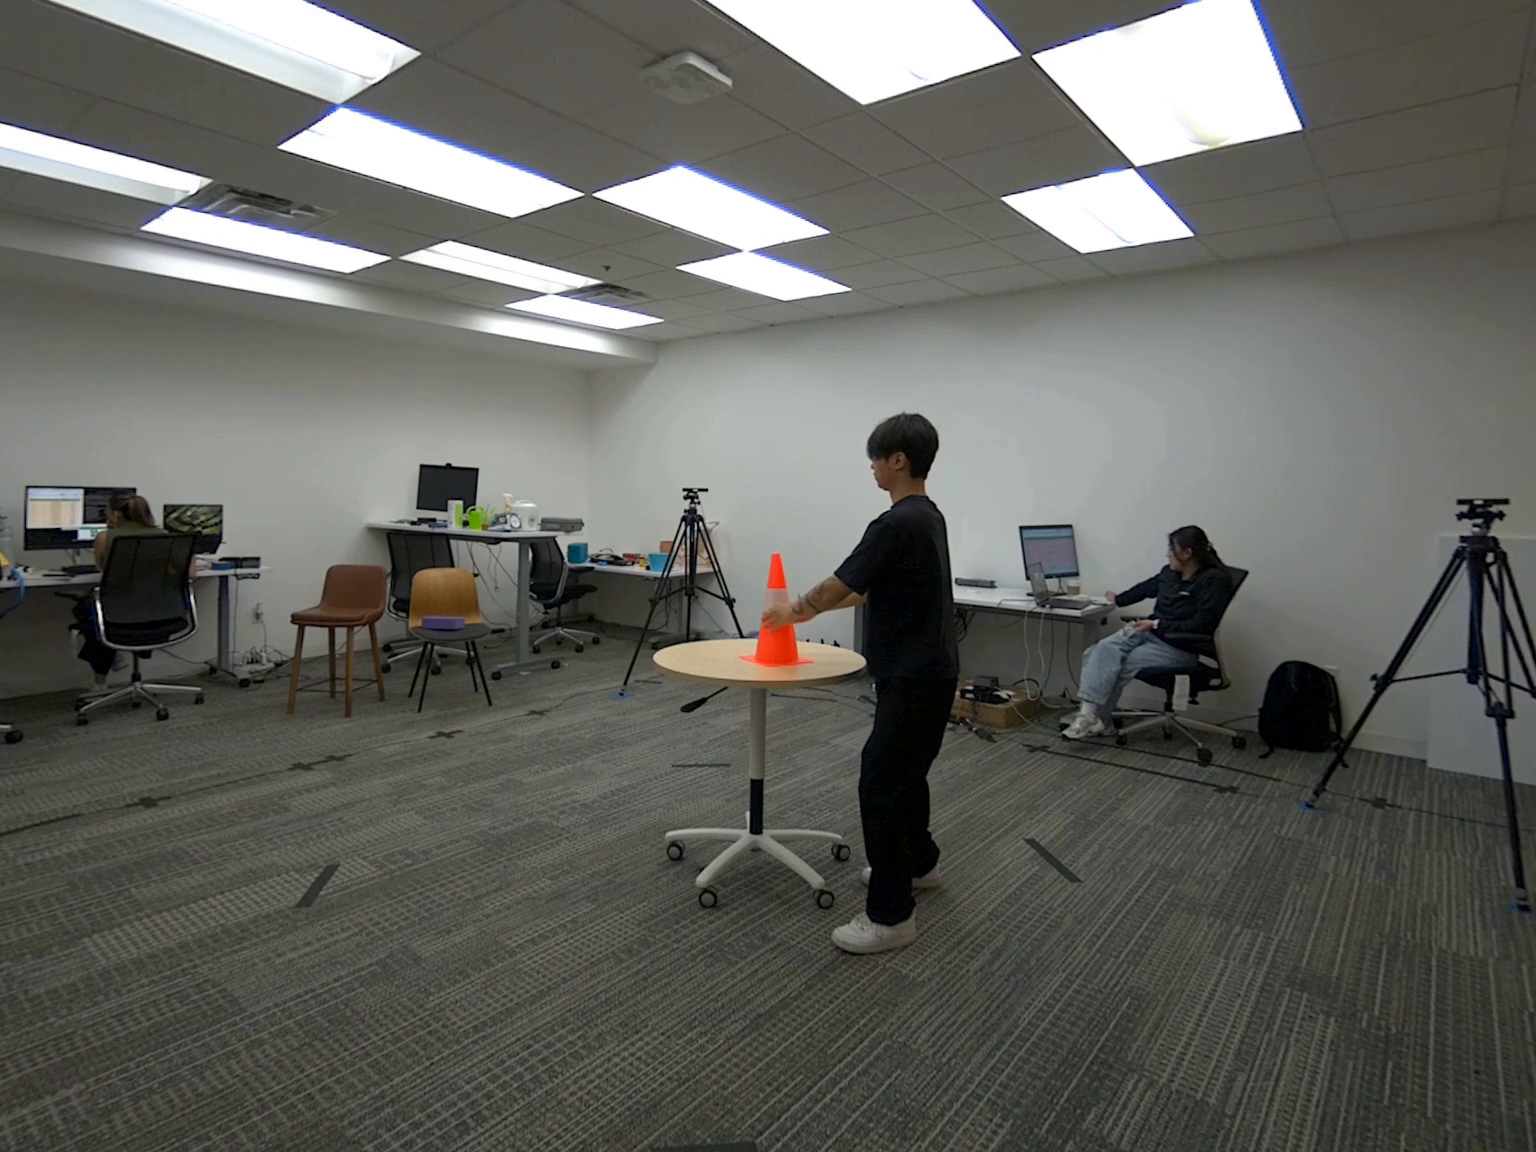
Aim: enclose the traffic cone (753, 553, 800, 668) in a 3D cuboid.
[{"bbox_3d":[0.024,0.106,3.018,0.199,0.383,0.210,-3,4,-40],"label":"traffic cone"}]
